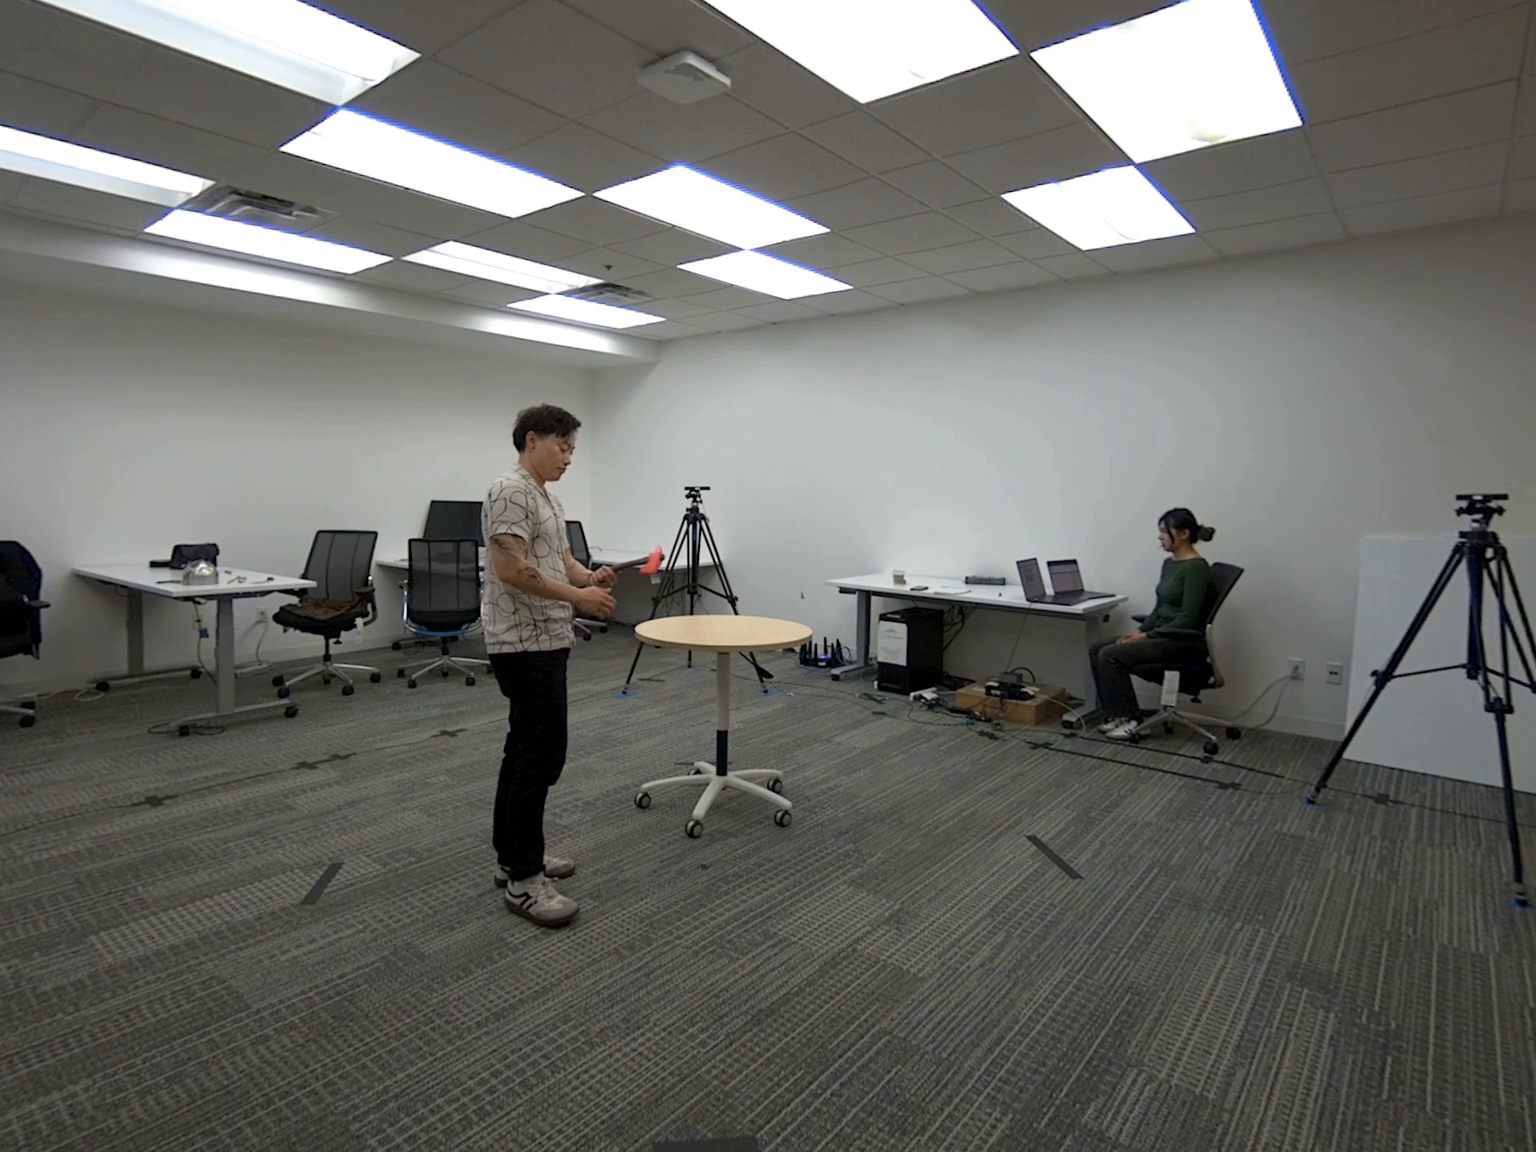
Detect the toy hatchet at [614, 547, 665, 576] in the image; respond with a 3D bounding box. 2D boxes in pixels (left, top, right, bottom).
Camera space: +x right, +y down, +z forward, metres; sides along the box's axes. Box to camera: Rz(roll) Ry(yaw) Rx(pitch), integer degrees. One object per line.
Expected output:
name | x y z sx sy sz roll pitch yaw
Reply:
toy hatchet | -0.505 -0.014 2.892 0.271 0.028 0.136 -24 43 4
